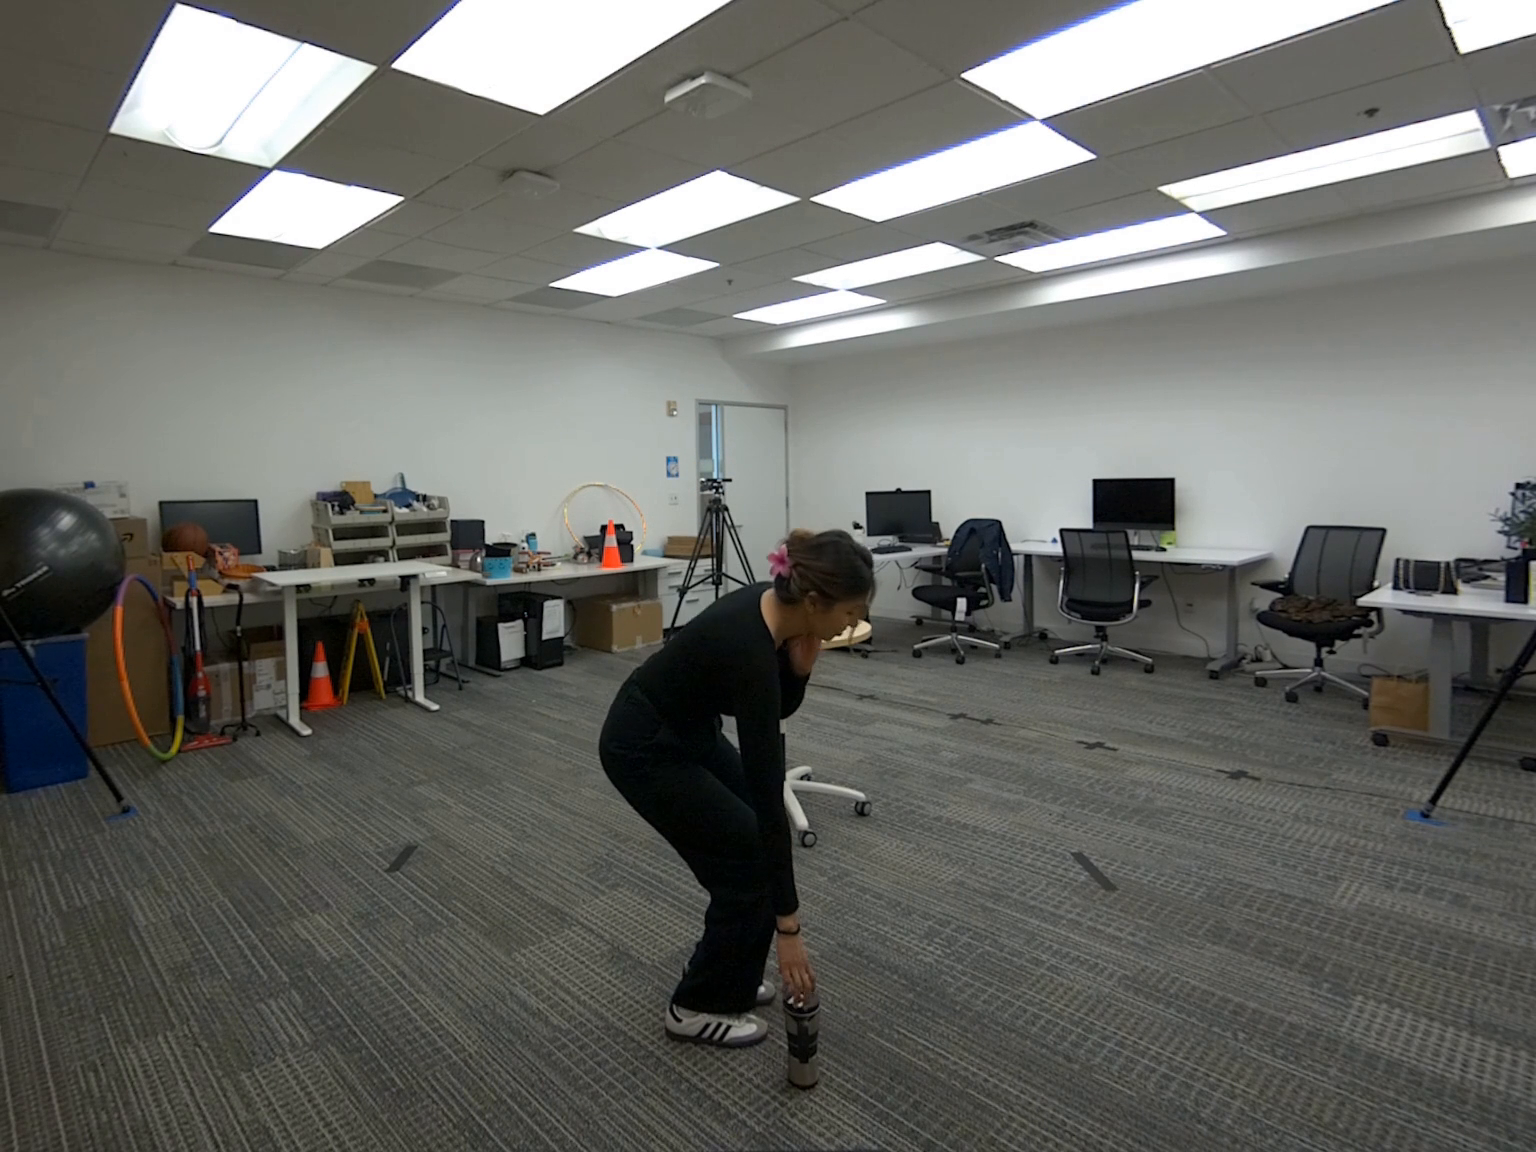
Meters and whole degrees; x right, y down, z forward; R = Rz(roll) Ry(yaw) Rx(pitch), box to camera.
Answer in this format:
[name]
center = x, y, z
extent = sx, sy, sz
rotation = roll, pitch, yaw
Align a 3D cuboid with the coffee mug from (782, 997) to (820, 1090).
[coffee mug]
center = 0.074, 1.085, 1.956
extent = 0.091, 0.202, 0.118
rotation = 7, 5, 39
